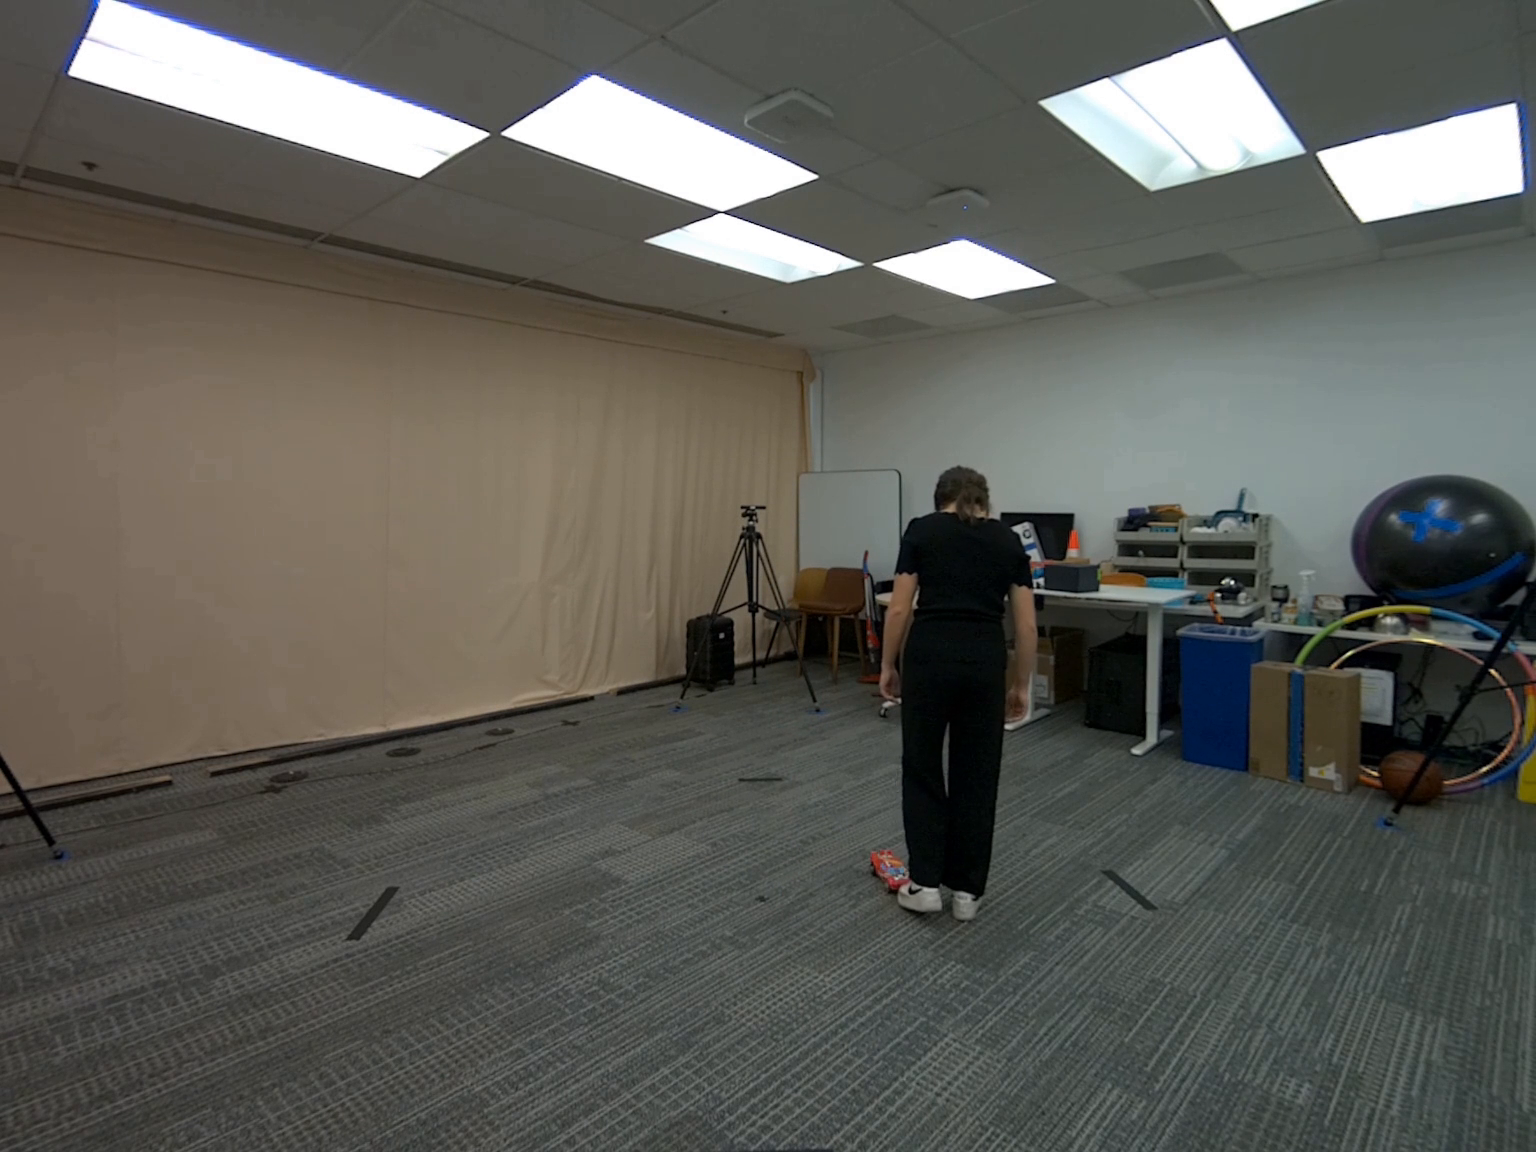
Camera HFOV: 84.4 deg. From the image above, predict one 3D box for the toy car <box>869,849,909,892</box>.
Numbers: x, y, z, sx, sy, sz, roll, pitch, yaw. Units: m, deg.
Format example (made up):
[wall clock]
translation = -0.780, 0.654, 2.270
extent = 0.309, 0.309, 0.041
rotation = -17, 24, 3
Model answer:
[toy car]
translation = 0.467, 1.094, 3.133
extent = 0.128, 0.082, 0.260
rotation = -1, 16, -14
